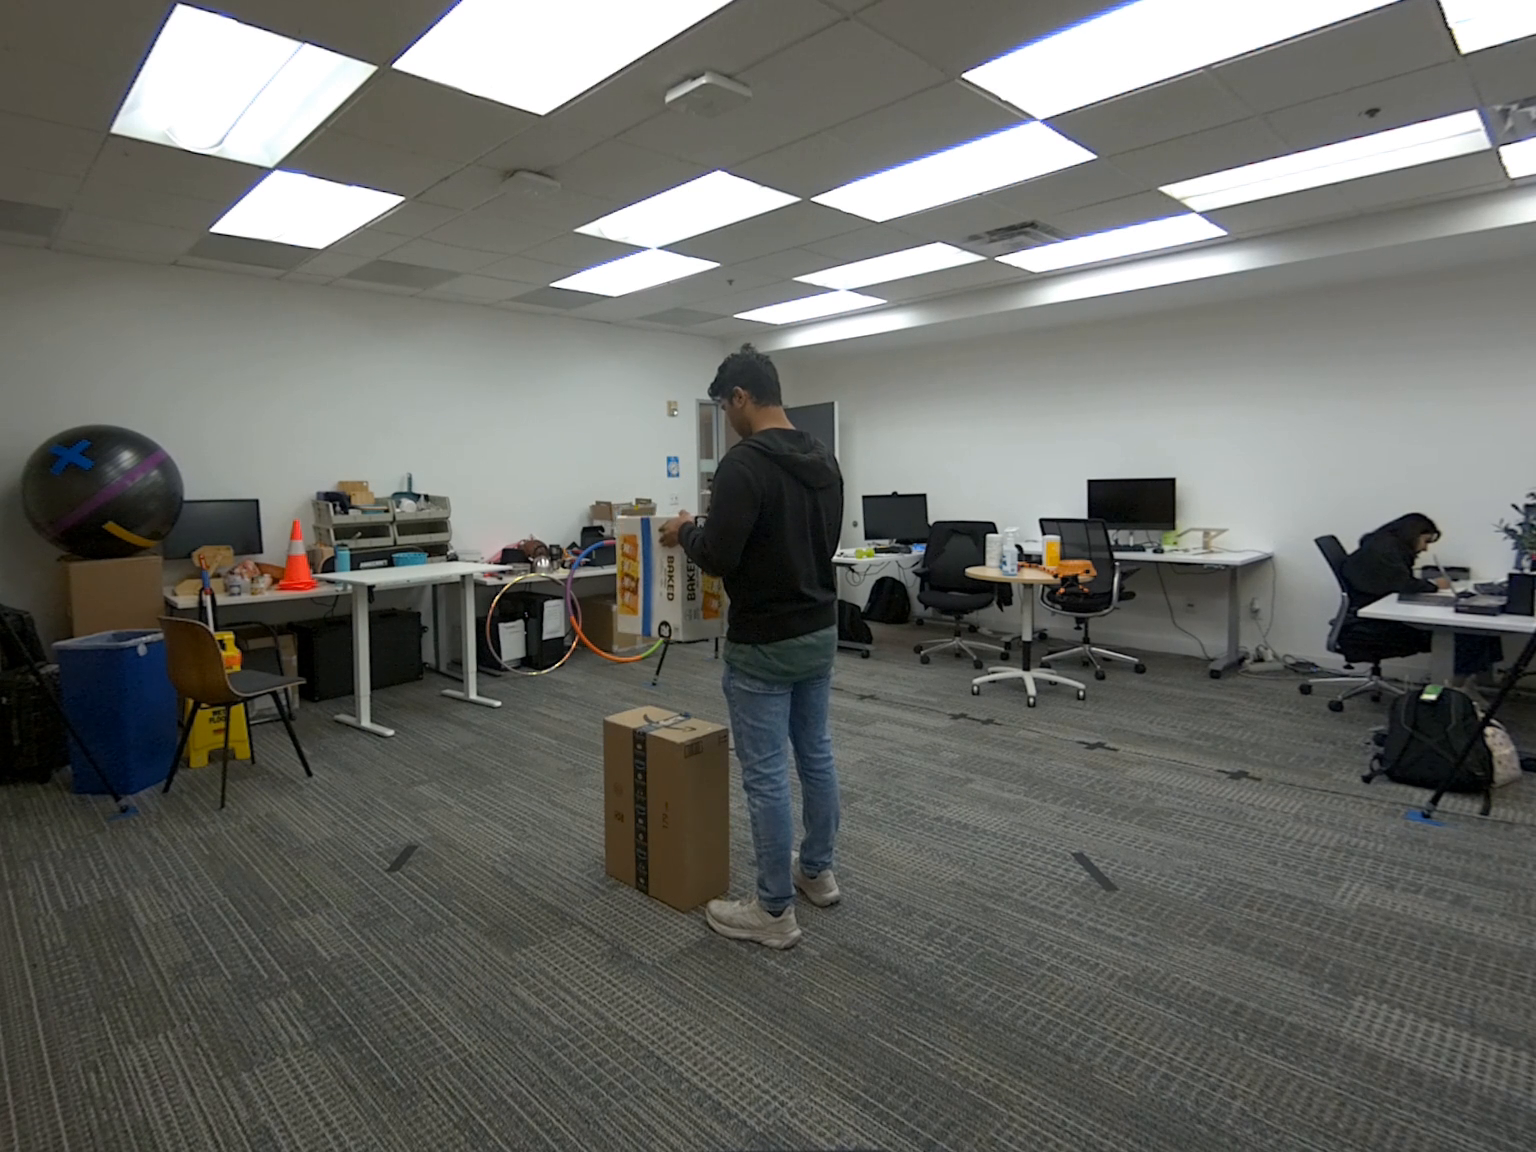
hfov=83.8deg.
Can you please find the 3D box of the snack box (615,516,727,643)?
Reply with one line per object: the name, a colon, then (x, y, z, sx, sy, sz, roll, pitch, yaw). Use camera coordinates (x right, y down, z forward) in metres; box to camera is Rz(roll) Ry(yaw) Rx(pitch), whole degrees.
snack box: (-0.329, 0.000, 2.911, 0.350, 0.405, 0.200, 1, 2, 45)
